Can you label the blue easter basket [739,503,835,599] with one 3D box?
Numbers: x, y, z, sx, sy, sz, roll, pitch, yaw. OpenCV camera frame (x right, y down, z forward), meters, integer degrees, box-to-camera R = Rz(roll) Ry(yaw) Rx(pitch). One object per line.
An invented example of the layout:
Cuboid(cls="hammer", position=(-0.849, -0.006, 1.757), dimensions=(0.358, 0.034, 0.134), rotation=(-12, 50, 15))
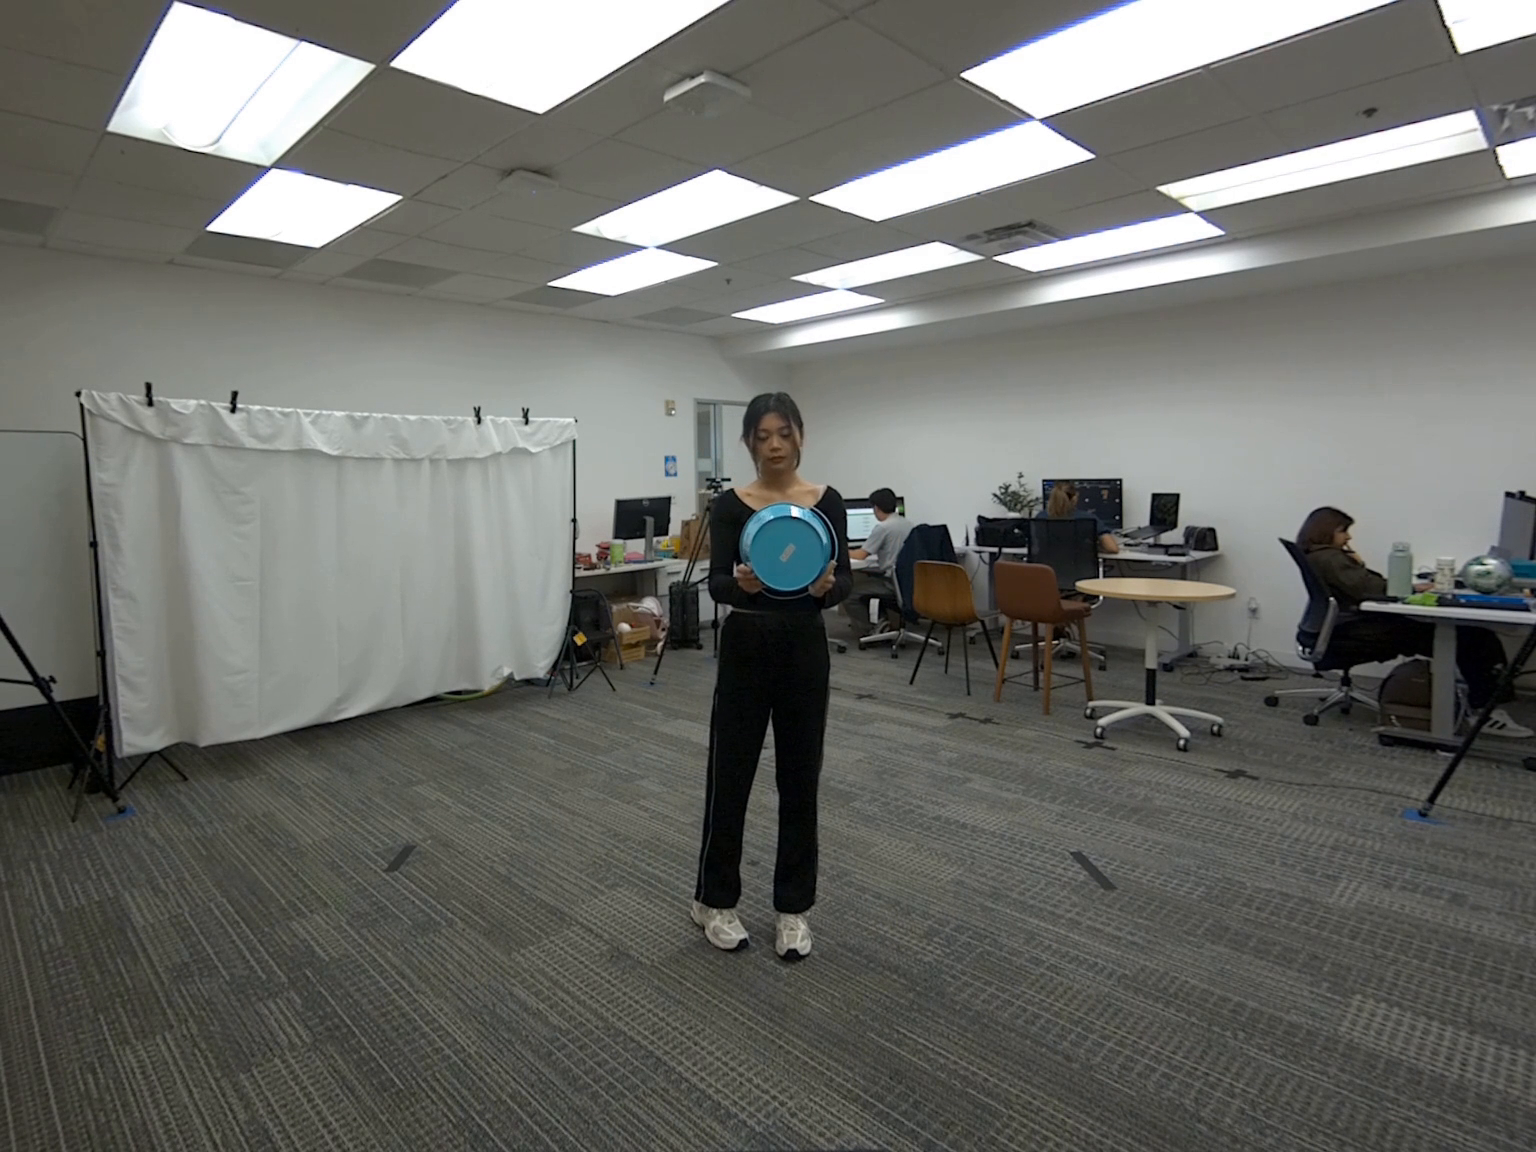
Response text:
Cuboid(cls="blue easter basket", position=(0.046, -0.061, 2.123), dimensions=(0.244, 0.242, 0.156), rotation=(-1, 6, 2))
